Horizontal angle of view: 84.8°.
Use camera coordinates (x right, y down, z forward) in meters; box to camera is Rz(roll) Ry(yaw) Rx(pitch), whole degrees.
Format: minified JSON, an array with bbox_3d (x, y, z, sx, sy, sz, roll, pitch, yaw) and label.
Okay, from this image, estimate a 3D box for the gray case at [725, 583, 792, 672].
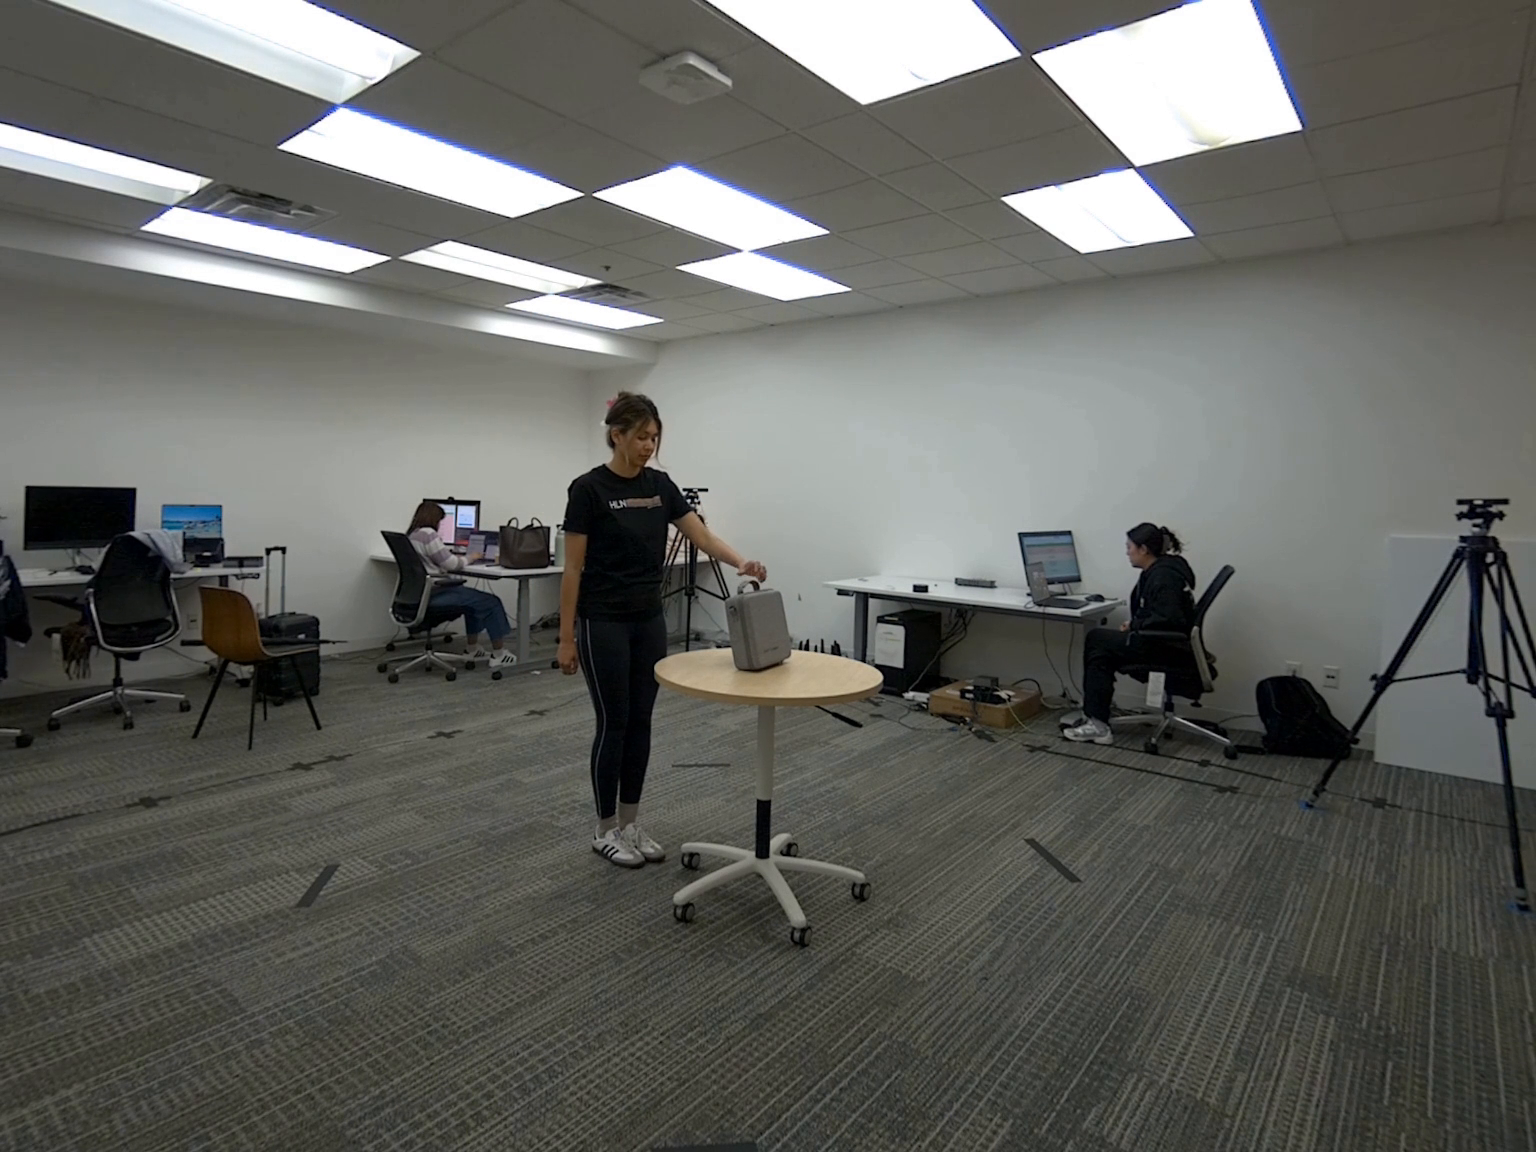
[{"bbox_3d":[-0.043,0.174,2.927,0.106,0.262,0.250,-12,-4,28],"label":"gray case"}]
